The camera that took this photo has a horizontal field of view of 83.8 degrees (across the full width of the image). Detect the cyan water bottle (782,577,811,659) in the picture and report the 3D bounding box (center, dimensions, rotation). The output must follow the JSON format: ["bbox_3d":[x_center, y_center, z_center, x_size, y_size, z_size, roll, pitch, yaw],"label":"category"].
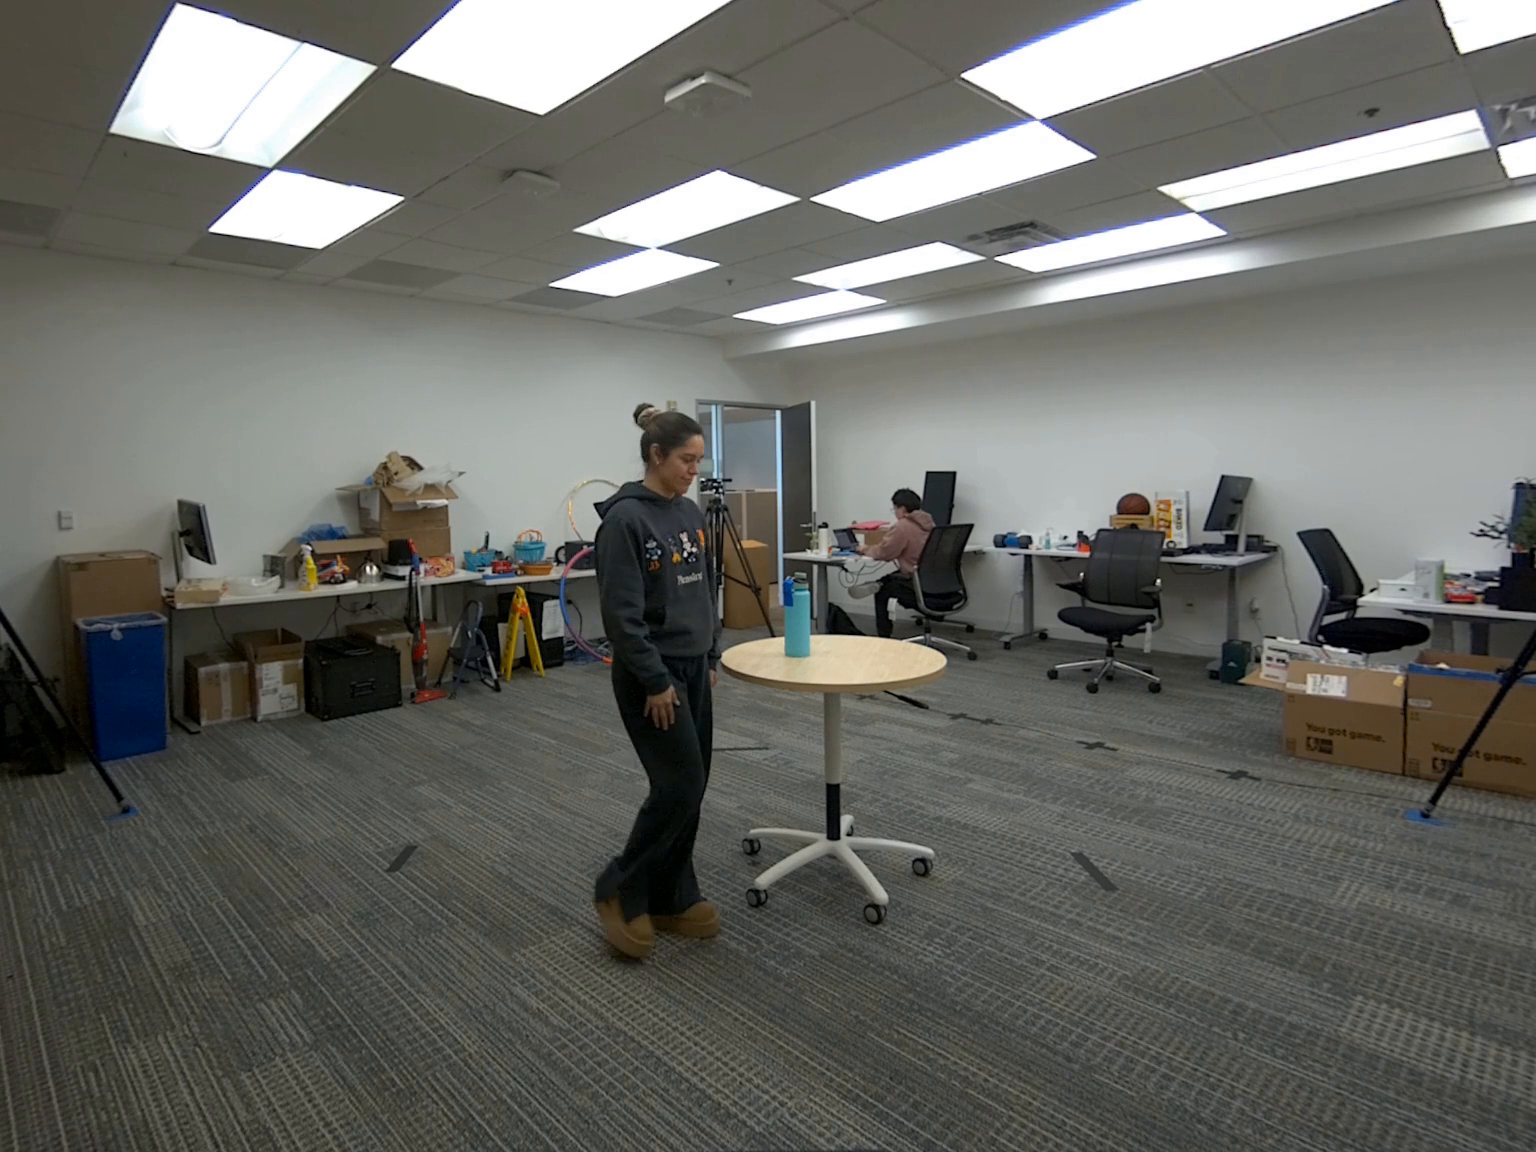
[{"bbox_3d":[0.101,0.137,2.954,0.092,0.283,0.092,-3,3,-1],"label":"cyan water bottle"}]
